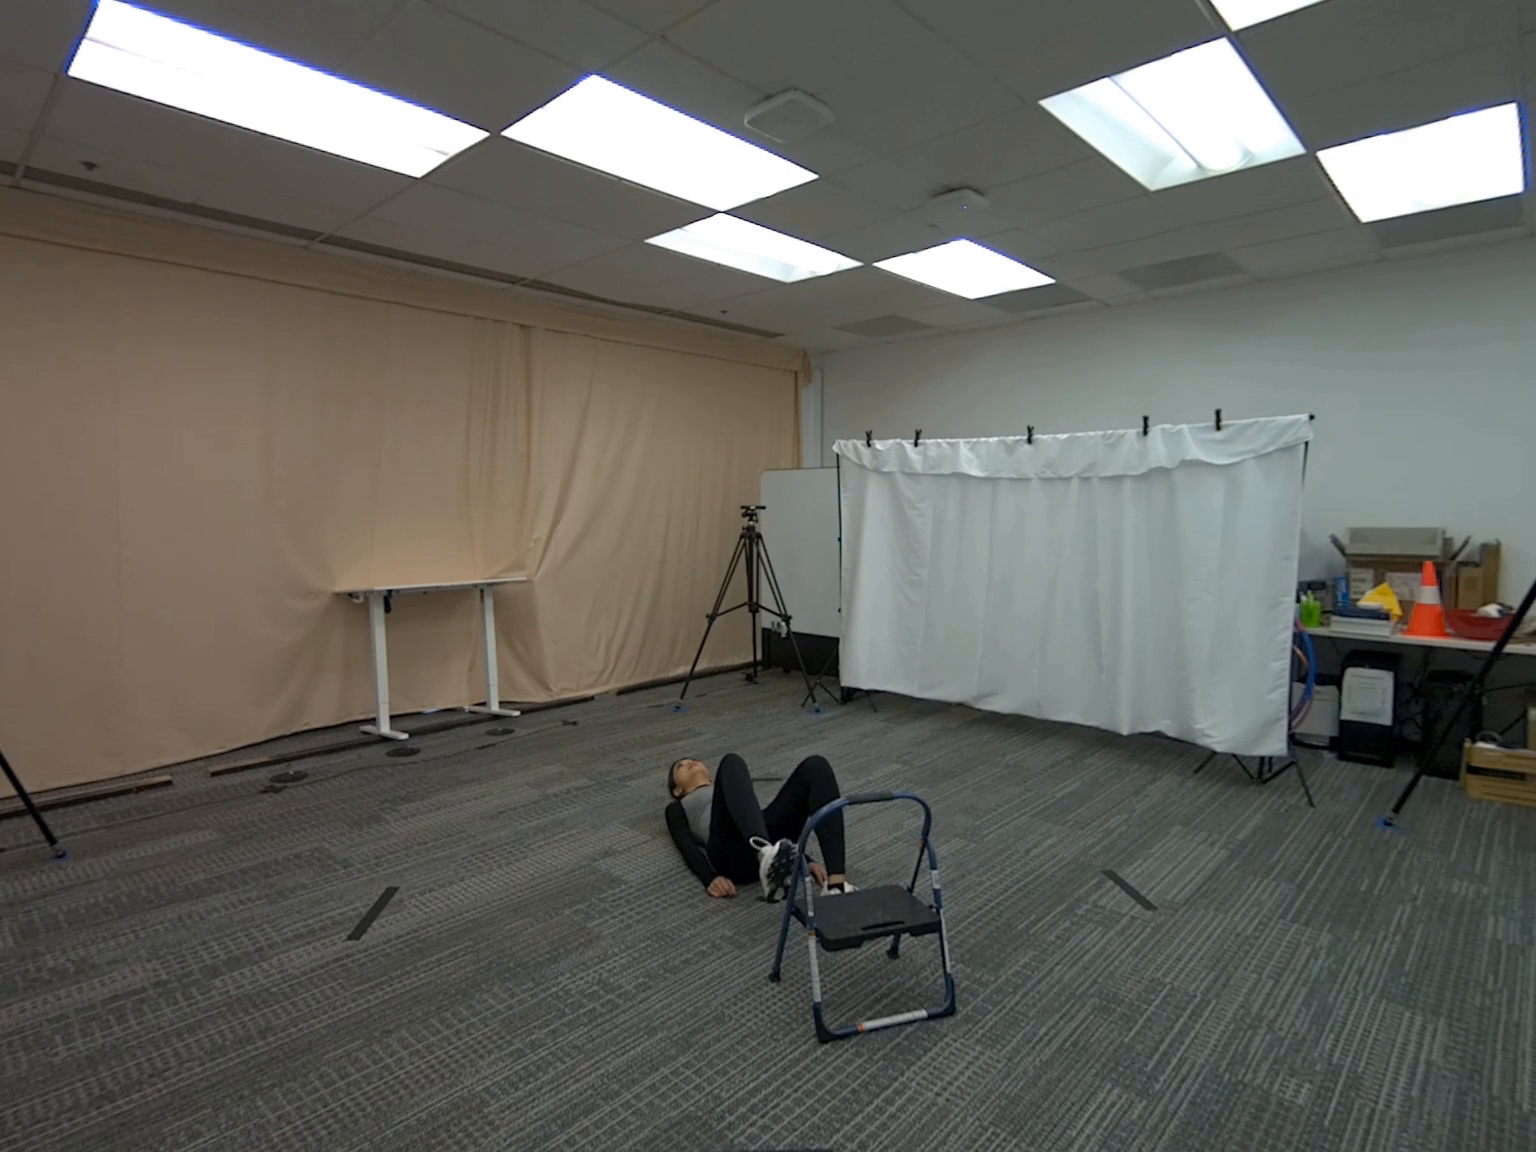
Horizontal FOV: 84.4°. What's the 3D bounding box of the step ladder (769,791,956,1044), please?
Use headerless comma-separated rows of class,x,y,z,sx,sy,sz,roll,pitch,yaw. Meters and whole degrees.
step ladder,0.270,0.894,2.383,0.422,0.605,0.357,-1,3,-21
